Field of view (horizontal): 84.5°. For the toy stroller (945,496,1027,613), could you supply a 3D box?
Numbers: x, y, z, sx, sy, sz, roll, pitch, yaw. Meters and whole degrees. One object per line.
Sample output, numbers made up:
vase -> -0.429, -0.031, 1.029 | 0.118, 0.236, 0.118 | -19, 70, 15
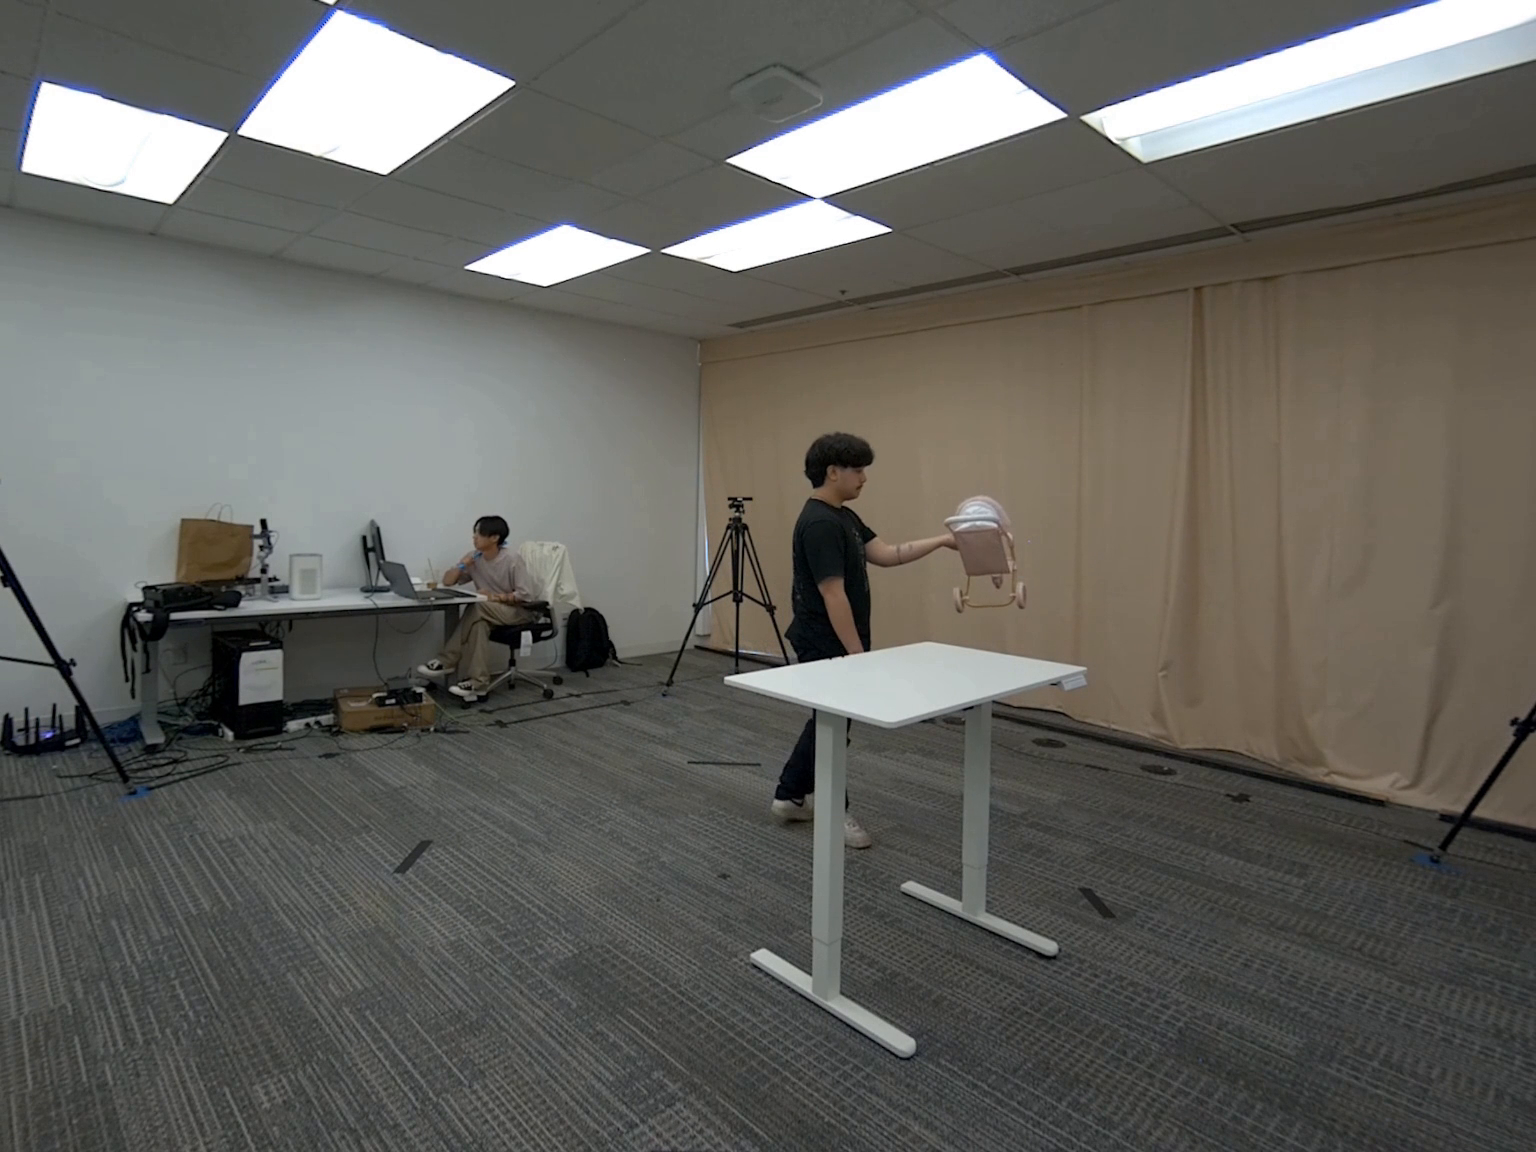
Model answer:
toy stroller -> 0.878, -0.101, 3.448 | 0.287, 0.522, 0.343 | -4, 32, 28
